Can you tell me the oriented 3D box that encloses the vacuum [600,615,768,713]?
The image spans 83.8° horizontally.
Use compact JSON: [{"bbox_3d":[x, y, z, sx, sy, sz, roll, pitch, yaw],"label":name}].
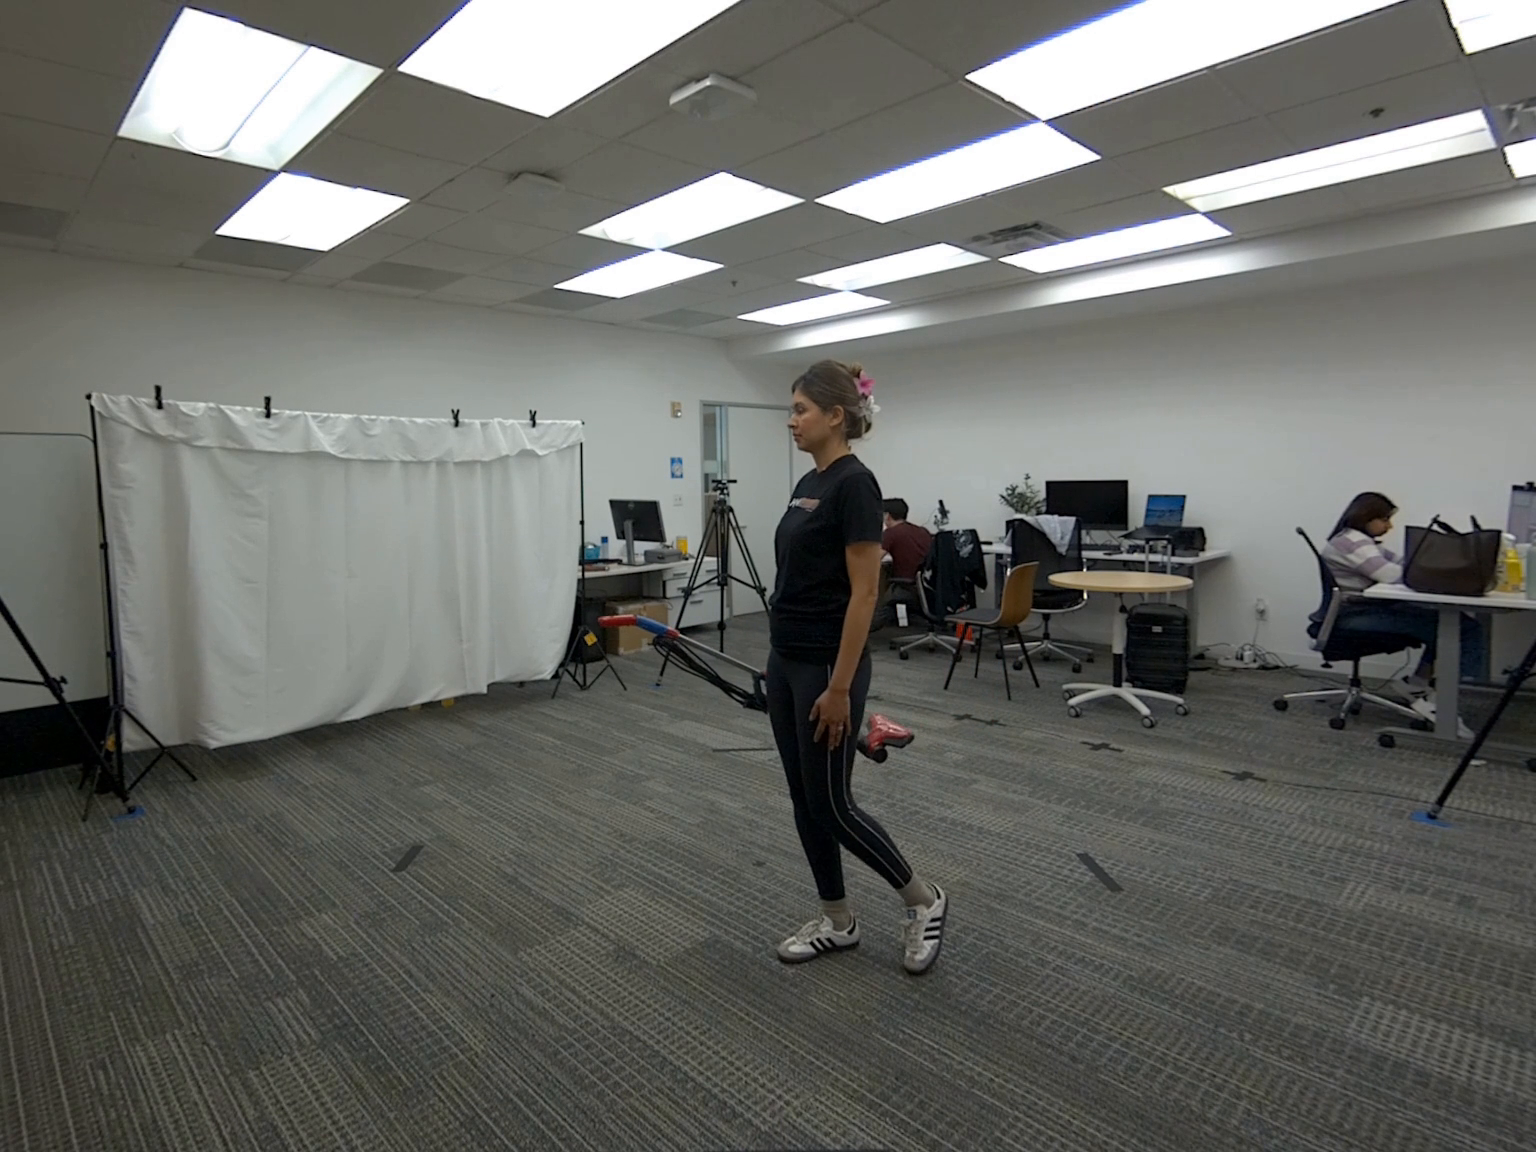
[{"bbox_3d":[-0.044,0.343,2.689,1.027,0.144,0.258,26,1,-17],"label":"vacuum"}]
